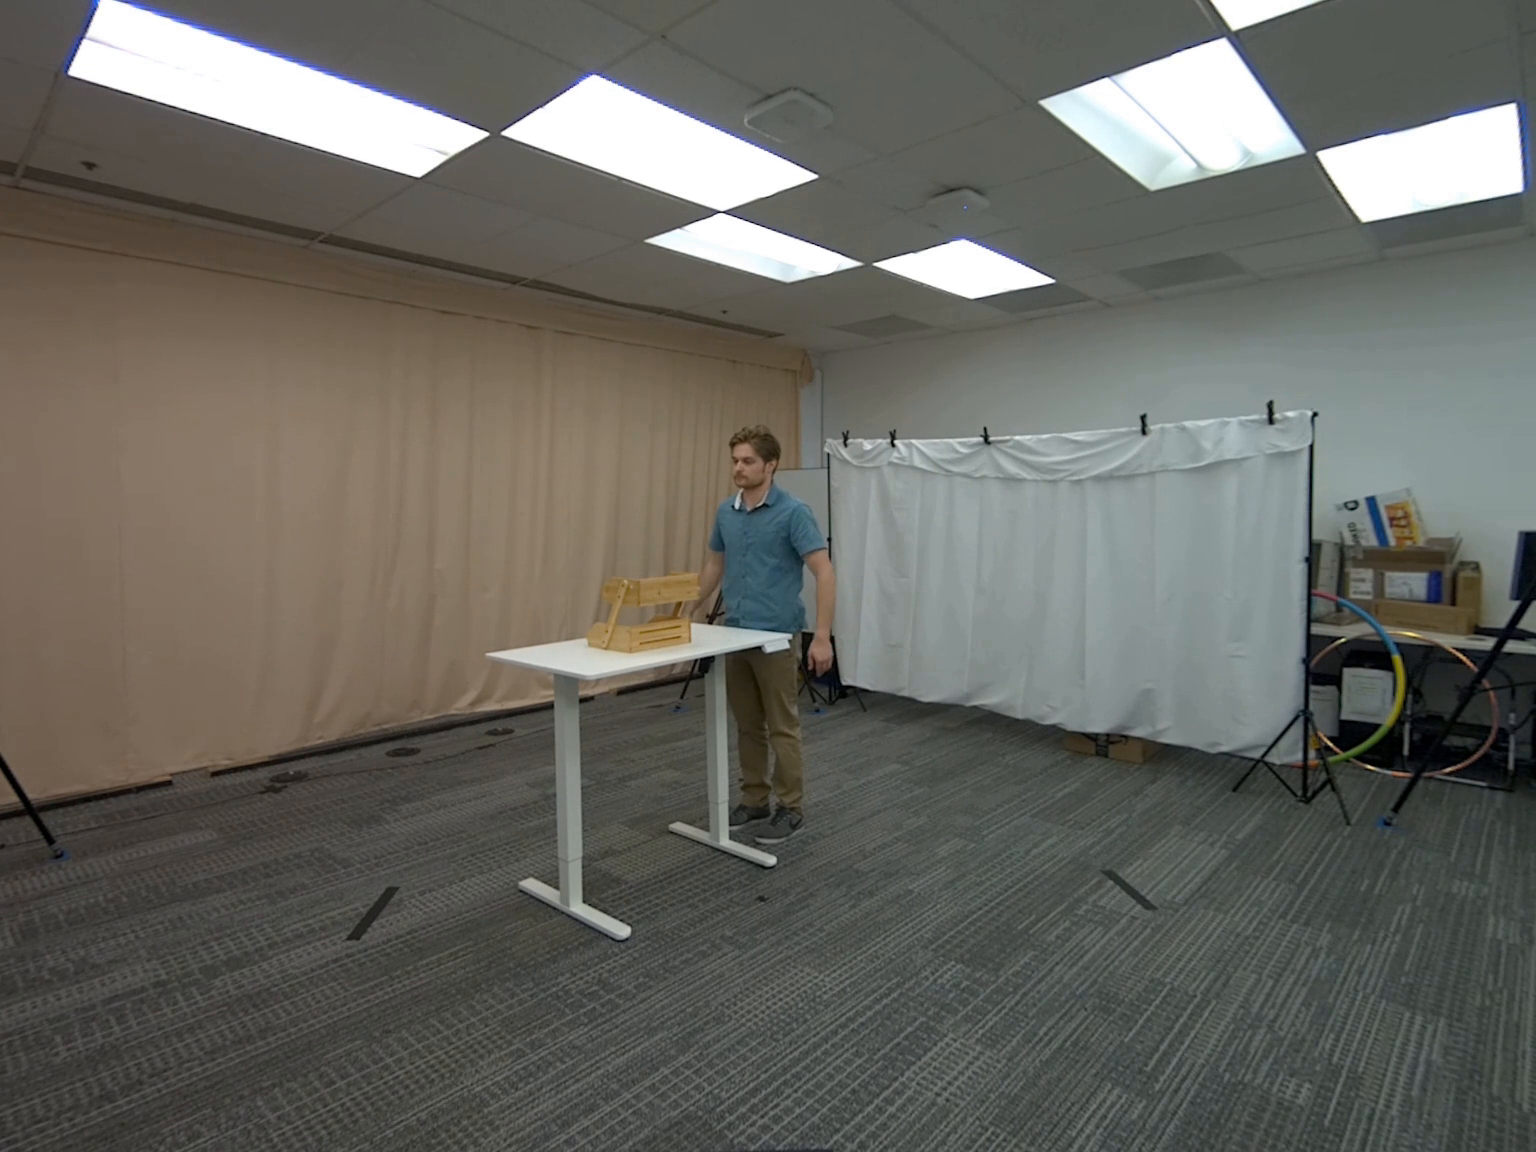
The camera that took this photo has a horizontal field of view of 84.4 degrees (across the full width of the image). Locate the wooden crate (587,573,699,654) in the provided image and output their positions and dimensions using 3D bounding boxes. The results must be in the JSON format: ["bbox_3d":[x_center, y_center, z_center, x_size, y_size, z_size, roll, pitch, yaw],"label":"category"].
[{"bbox_3d":[-0.467,0.124,3.100,0.312,0.272,0.315,3,6,43],"label":"wooden crate"}]
